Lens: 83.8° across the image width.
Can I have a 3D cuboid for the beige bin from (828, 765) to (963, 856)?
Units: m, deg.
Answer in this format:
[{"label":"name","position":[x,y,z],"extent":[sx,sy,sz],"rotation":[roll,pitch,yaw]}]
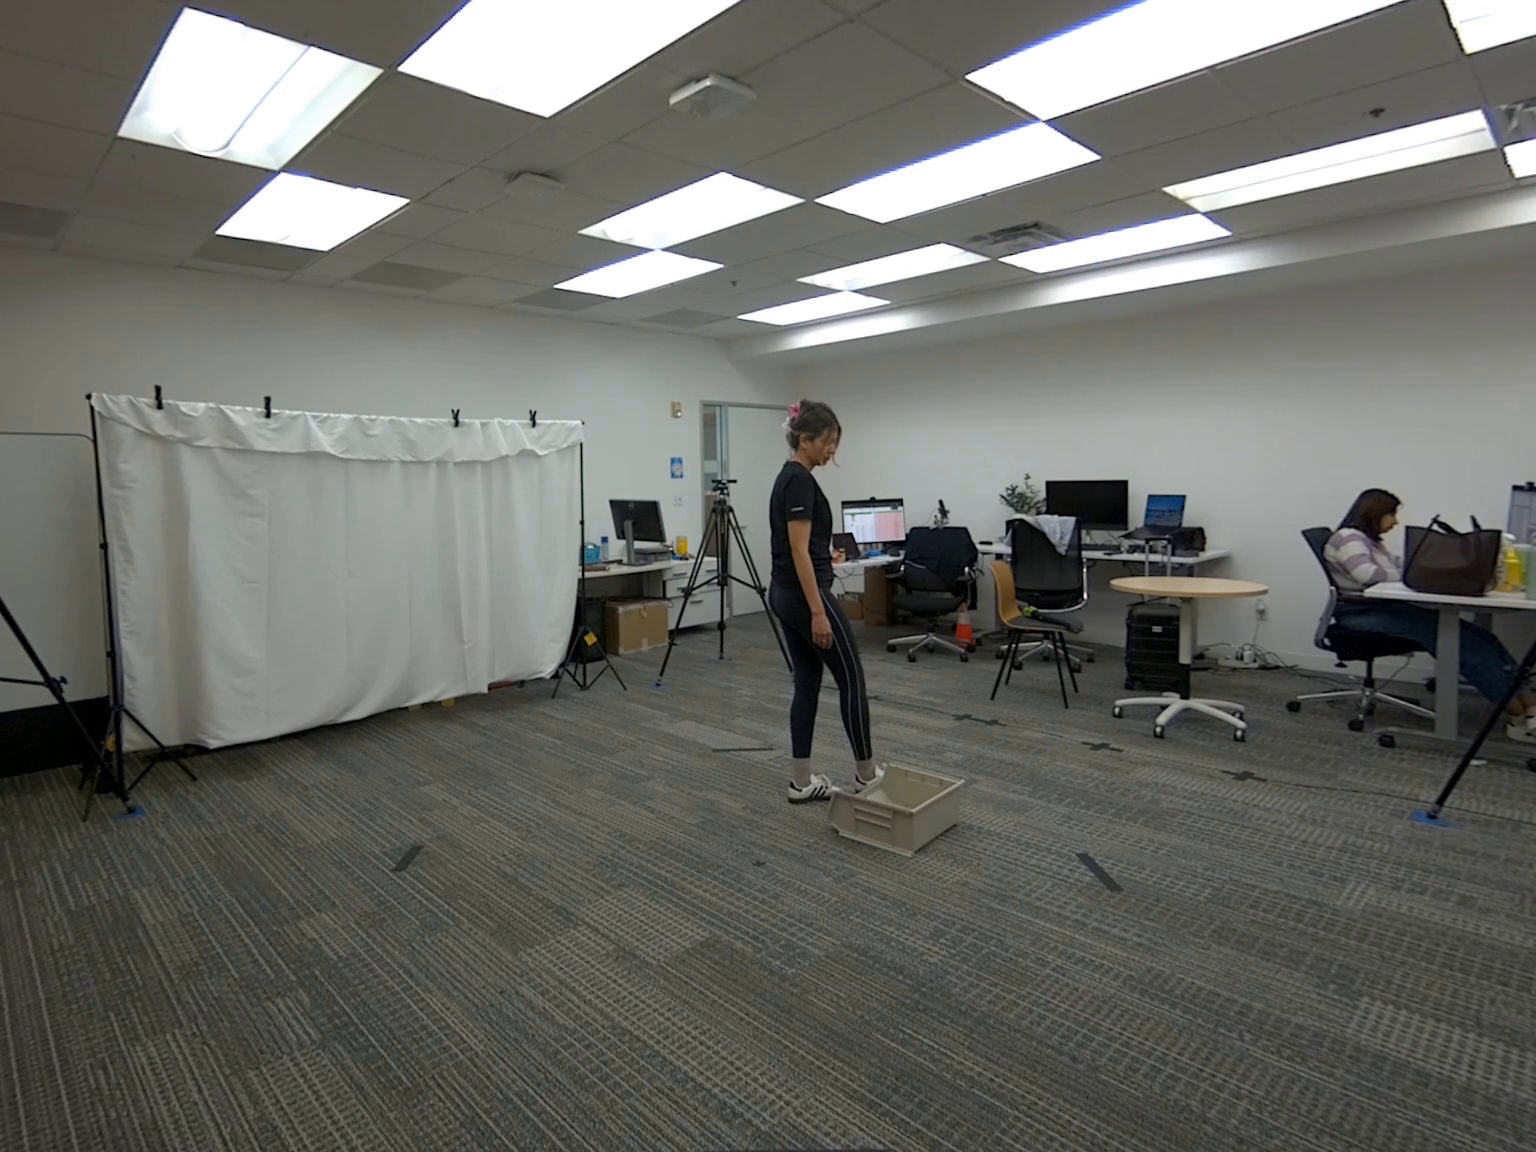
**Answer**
[{"label":"beige bin","position":[0.510,0.915,3.393],"extent":[0.389,0.188,0.411],"rotation":[6,8,38]}]
